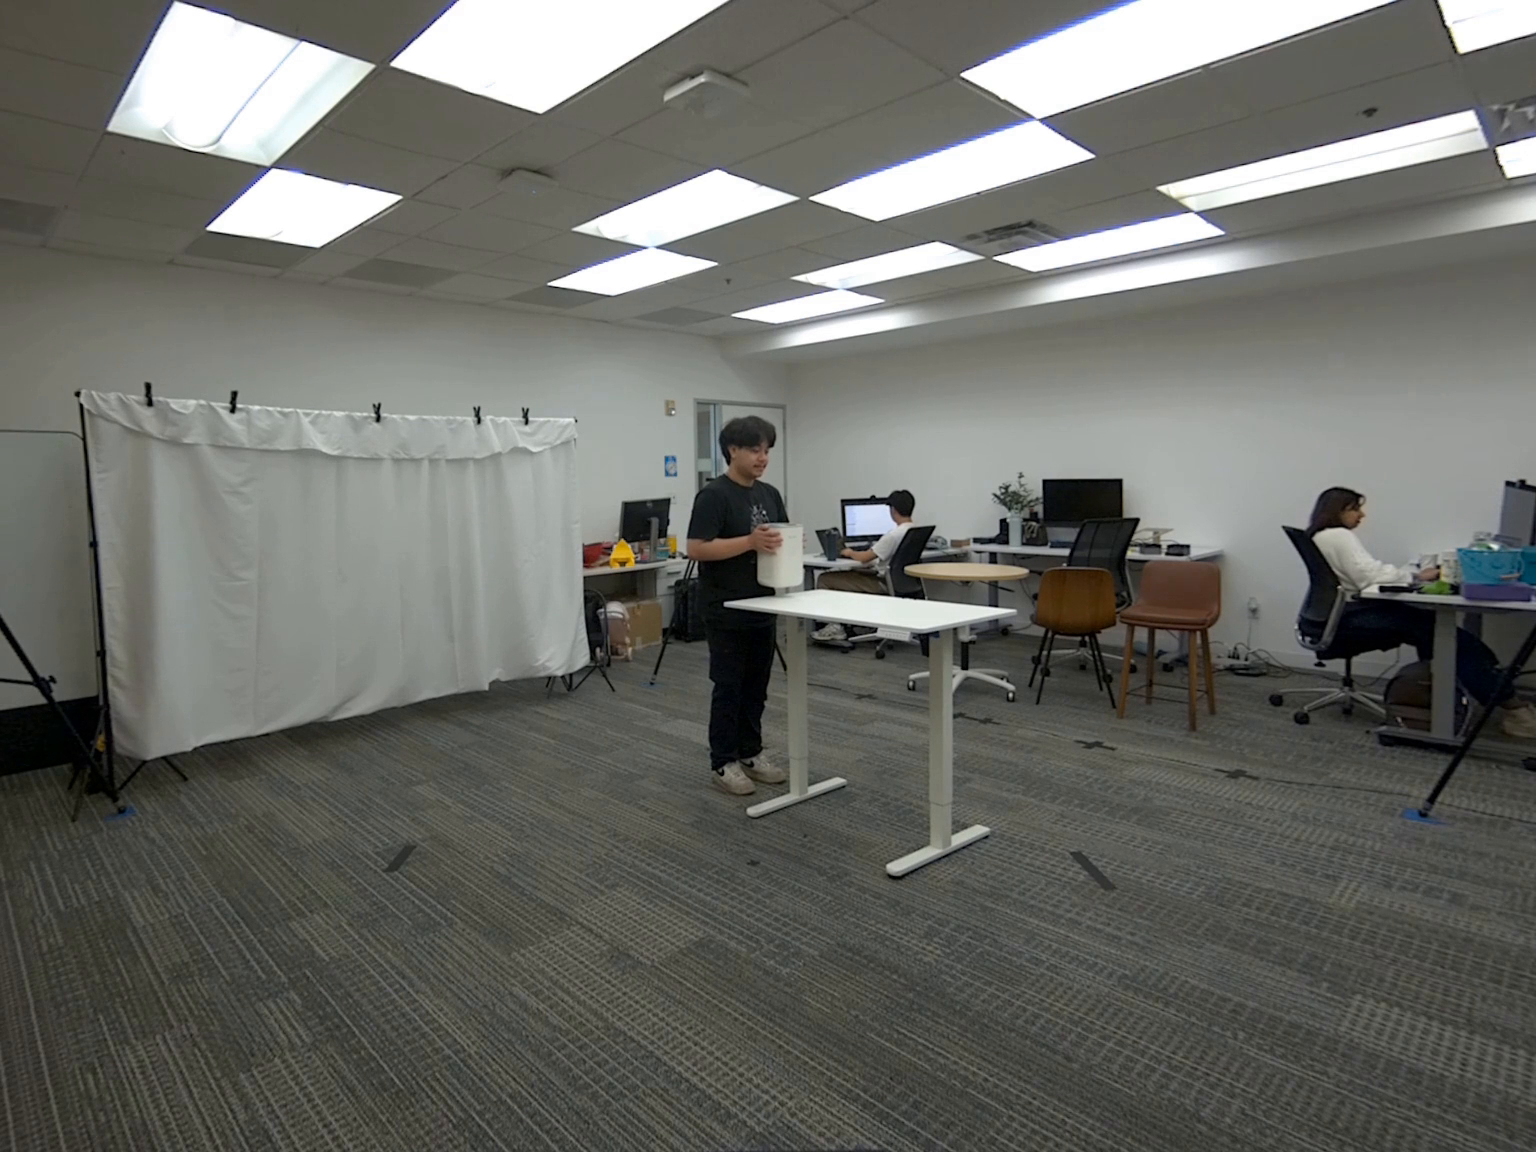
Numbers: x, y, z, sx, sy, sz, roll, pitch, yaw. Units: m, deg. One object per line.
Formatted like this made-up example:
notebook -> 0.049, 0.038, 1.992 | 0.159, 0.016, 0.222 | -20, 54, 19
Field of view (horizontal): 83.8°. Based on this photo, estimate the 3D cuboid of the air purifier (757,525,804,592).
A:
air purifier -> 0.041, -0.088, 3.722 | 0.166, 0.264, 0.177 | -6, 10, -42
